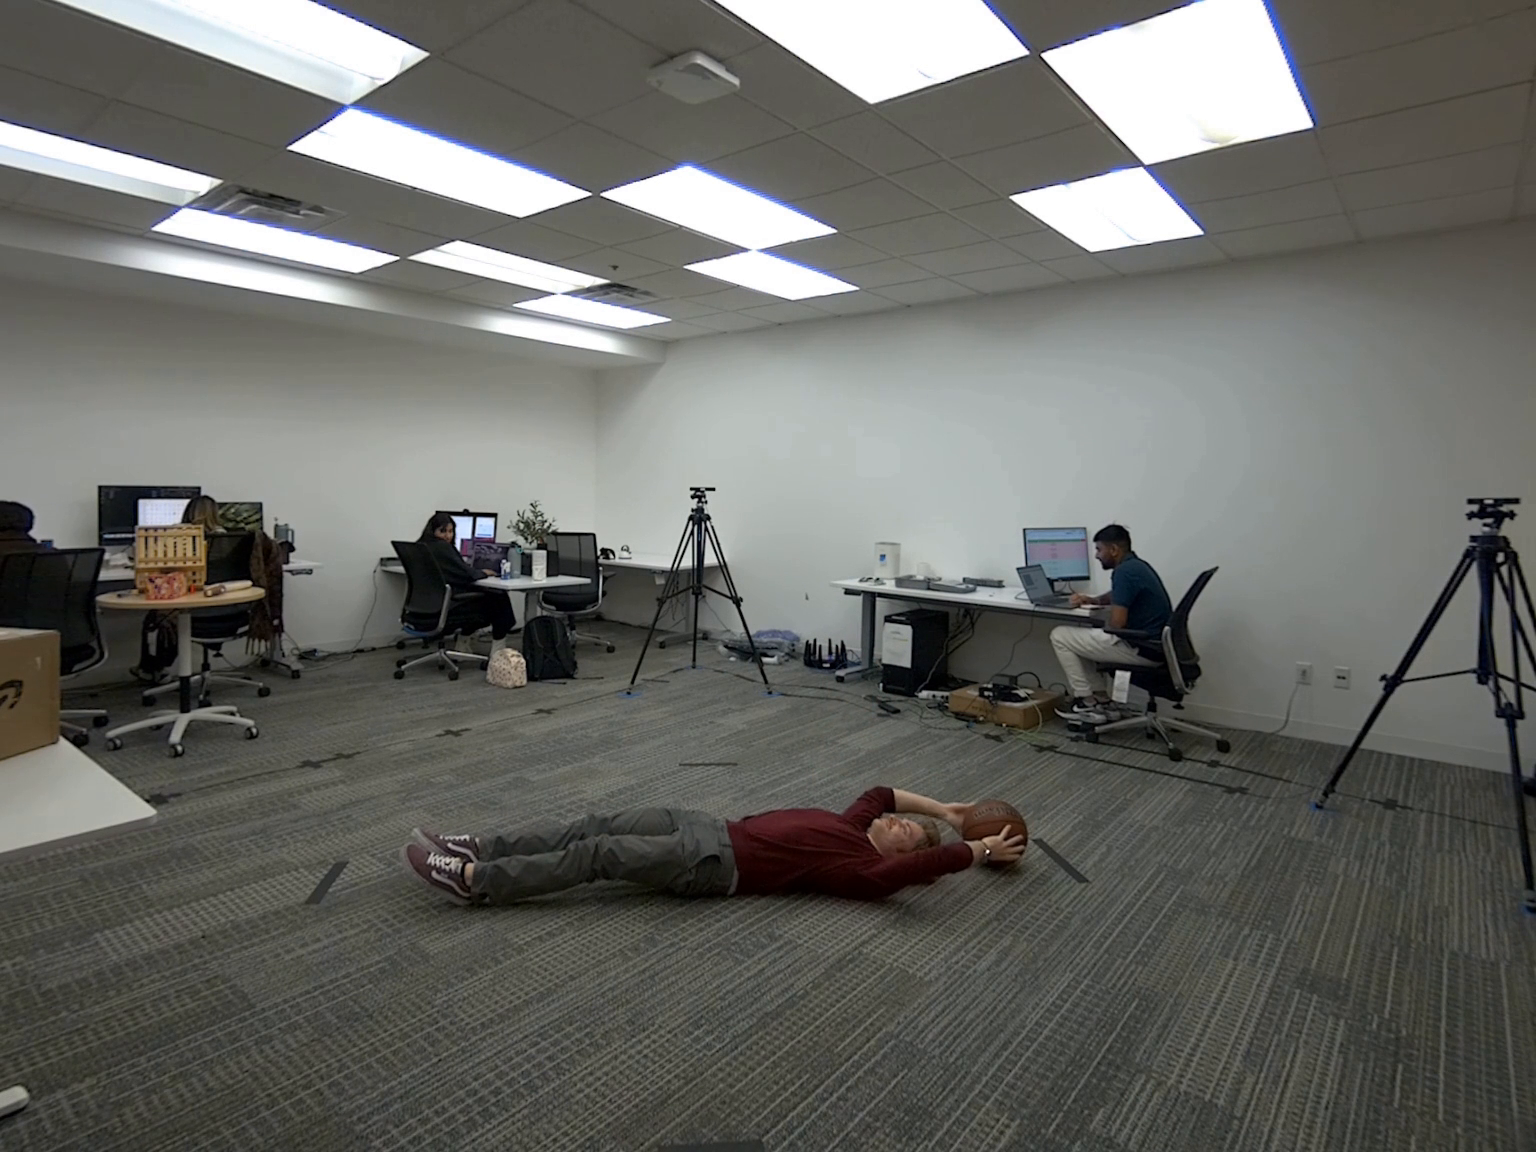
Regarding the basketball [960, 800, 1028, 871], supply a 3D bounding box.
[{"bbox_3d":[0.845,0.960,3.208,0.235,0.235,0.237,1,4,-2],"label":"basketball"}]
